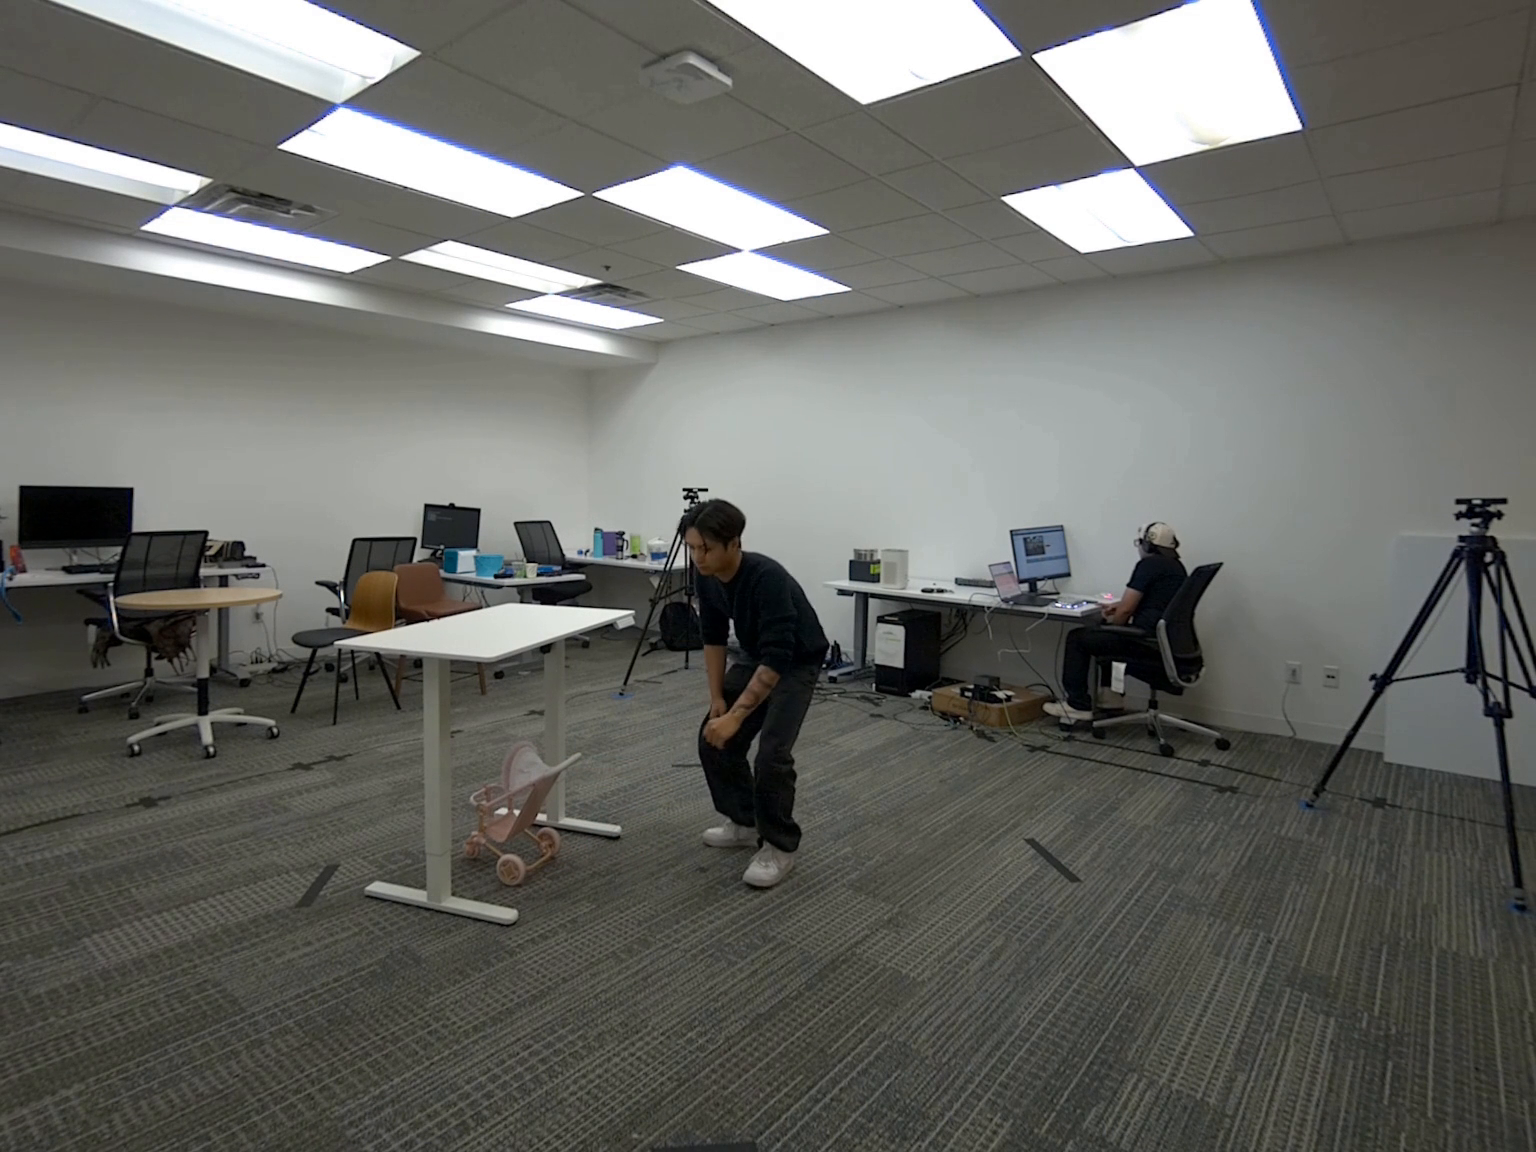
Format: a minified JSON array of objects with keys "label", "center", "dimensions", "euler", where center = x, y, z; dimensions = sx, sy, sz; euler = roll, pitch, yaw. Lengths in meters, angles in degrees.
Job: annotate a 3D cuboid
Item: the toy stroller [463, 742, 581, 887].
[{"label":"toy stroller","center":[-0.928,0.839,3.090],"dimensions":[0.351,0.532,0.275],"euler":[20,10,21]}]
